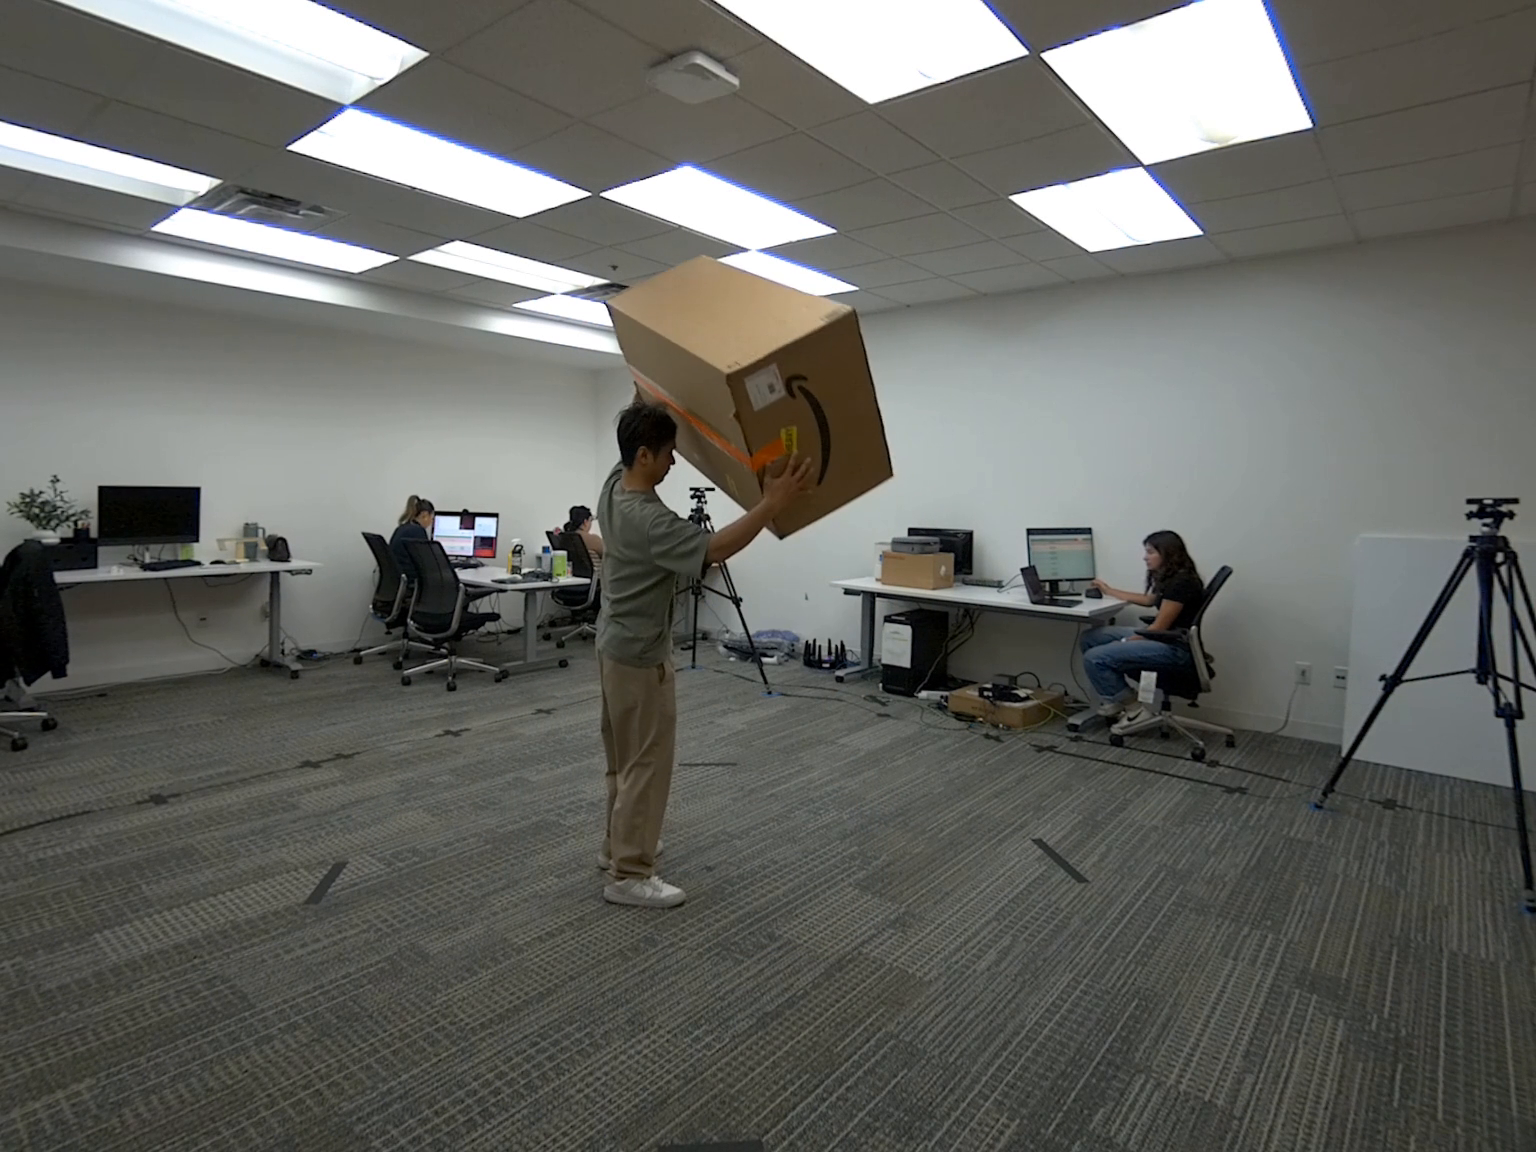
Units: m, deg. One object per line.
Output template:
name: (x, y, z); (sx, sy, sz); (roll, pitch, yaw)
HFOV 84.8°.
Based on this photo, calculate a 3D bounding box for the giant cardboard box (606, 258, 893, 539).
giant cardboard box: (-0.109, -0.634, 2.855); (0.424, 0.557, 1.069); (-30, 37, -13)
